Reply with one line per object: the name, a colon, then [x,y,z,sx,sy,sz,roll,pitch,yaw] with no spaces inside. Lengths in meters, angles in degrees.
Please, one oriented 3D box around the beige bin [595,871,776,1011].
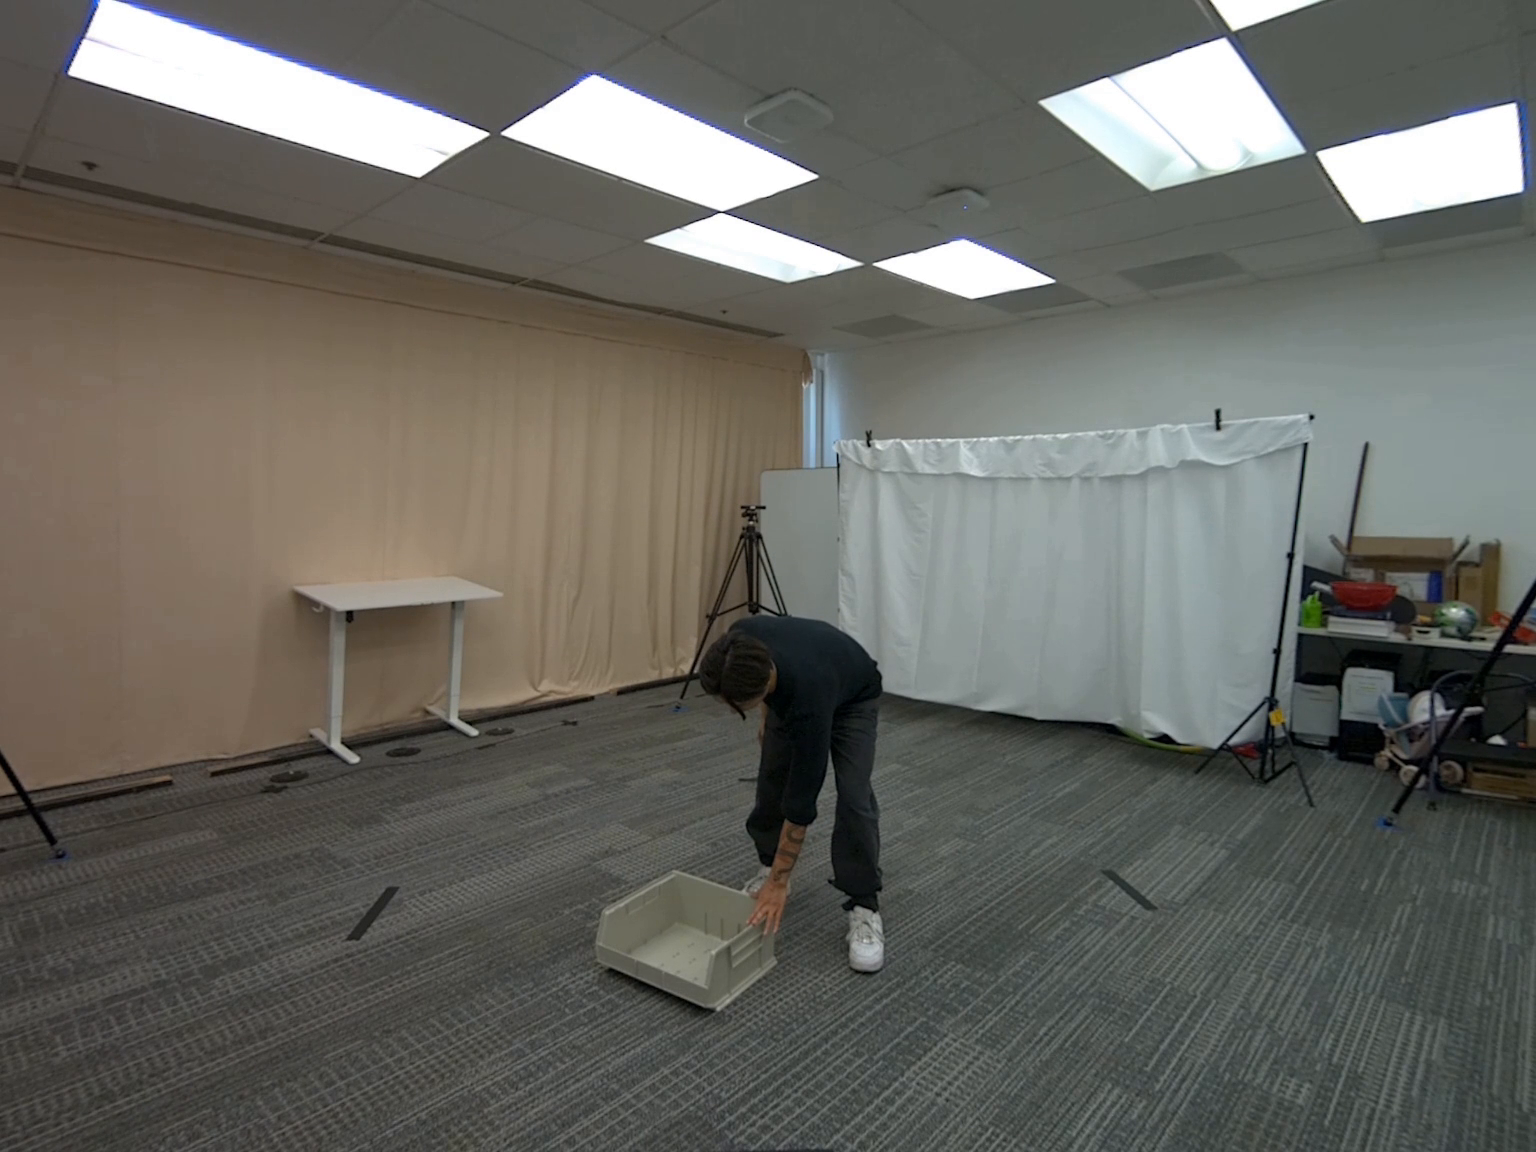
beige bin: [-0.239,1.097,2.536,0.435,0.188,0.366,2,4,34]
